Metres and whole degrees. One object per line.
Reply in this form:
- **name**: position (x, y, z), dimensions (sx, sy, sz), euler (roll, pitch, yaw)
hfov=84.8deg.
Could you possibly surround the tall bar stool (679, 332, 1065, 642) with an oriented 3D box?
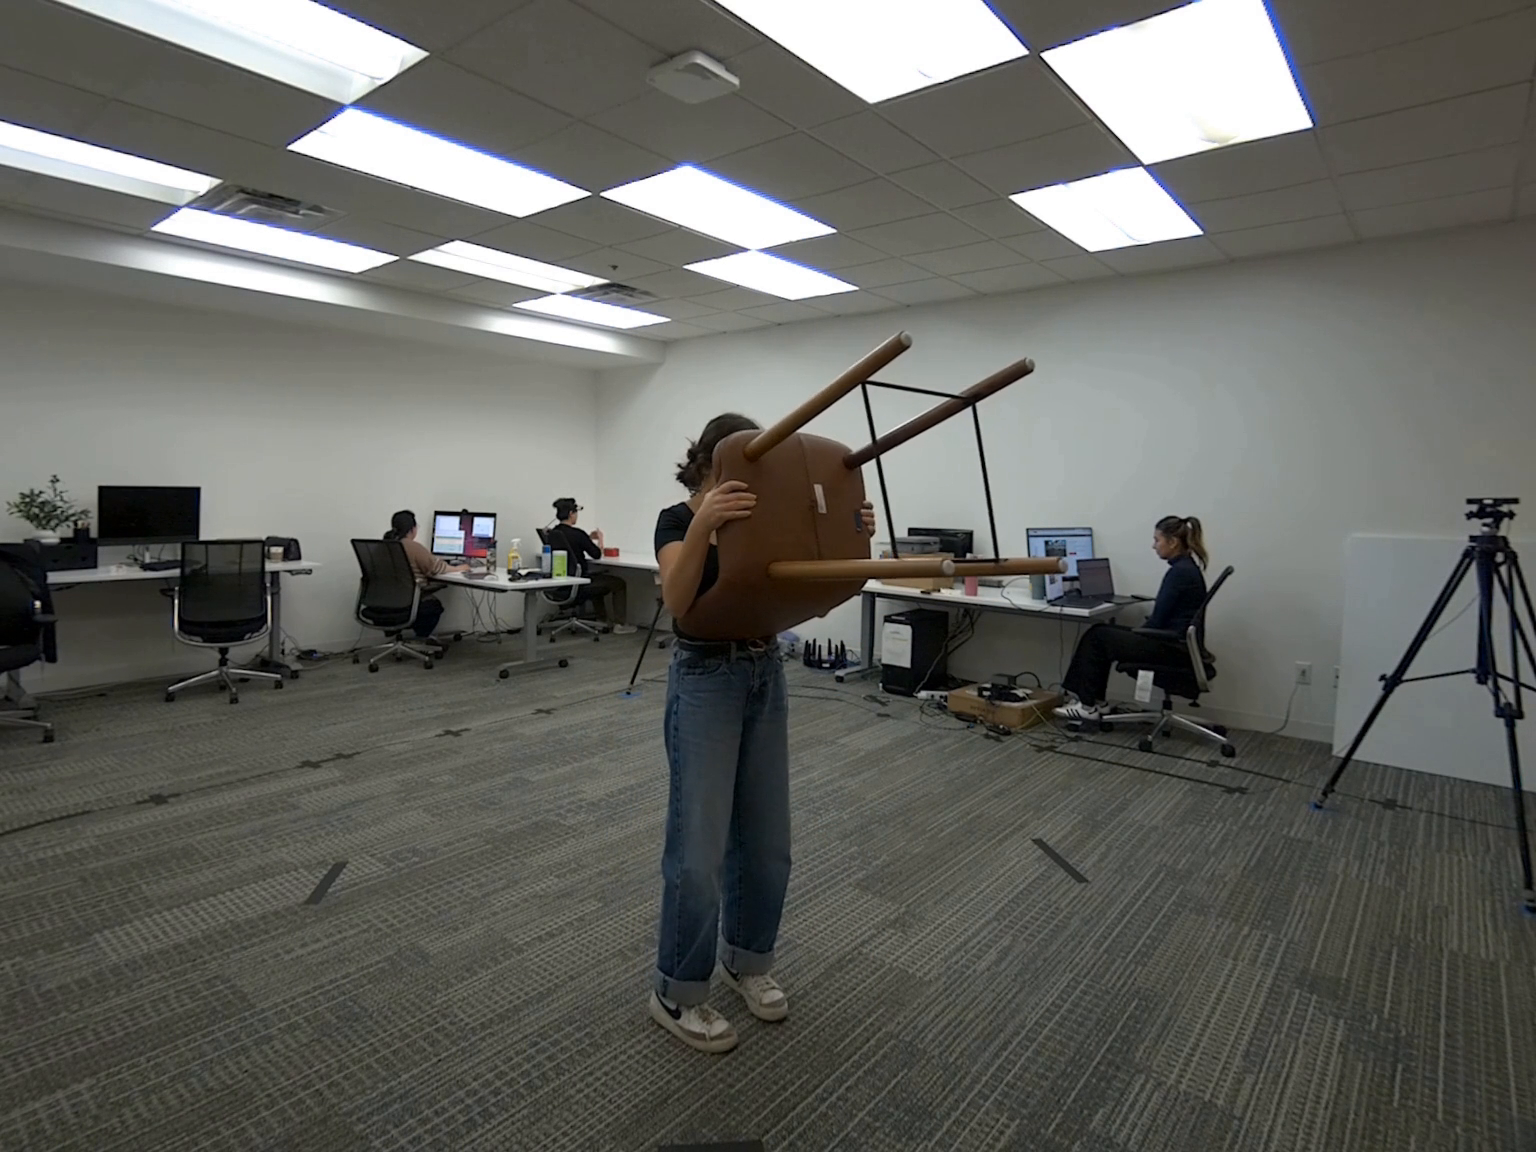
- **tall bar stool**: position (0.156, -0.144, 1.957), dimensions (0.442, 0.473, 0.906), euler (0, -13, -39)
